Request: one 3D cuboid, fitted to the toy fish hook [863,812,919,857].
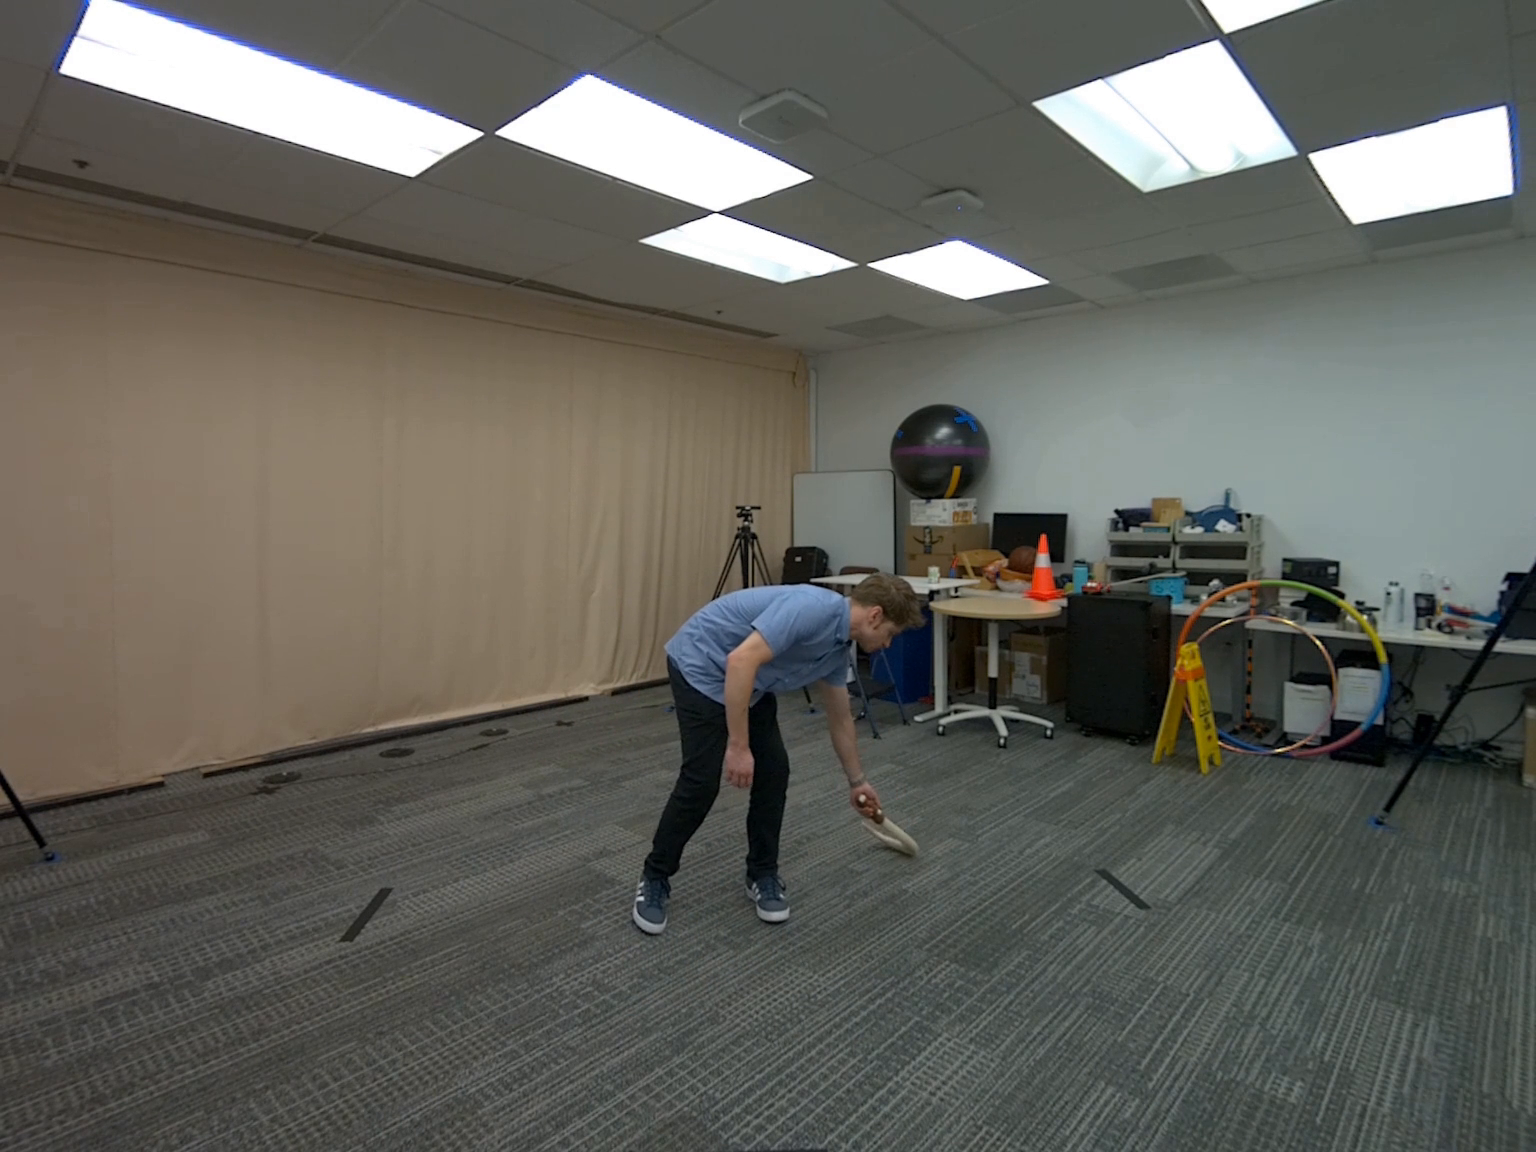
[{"bbox_3d":[0.426,0.958,3.250,0.232,0.048,0.490,2,-38,42],"label":"toy fish hook"}]
